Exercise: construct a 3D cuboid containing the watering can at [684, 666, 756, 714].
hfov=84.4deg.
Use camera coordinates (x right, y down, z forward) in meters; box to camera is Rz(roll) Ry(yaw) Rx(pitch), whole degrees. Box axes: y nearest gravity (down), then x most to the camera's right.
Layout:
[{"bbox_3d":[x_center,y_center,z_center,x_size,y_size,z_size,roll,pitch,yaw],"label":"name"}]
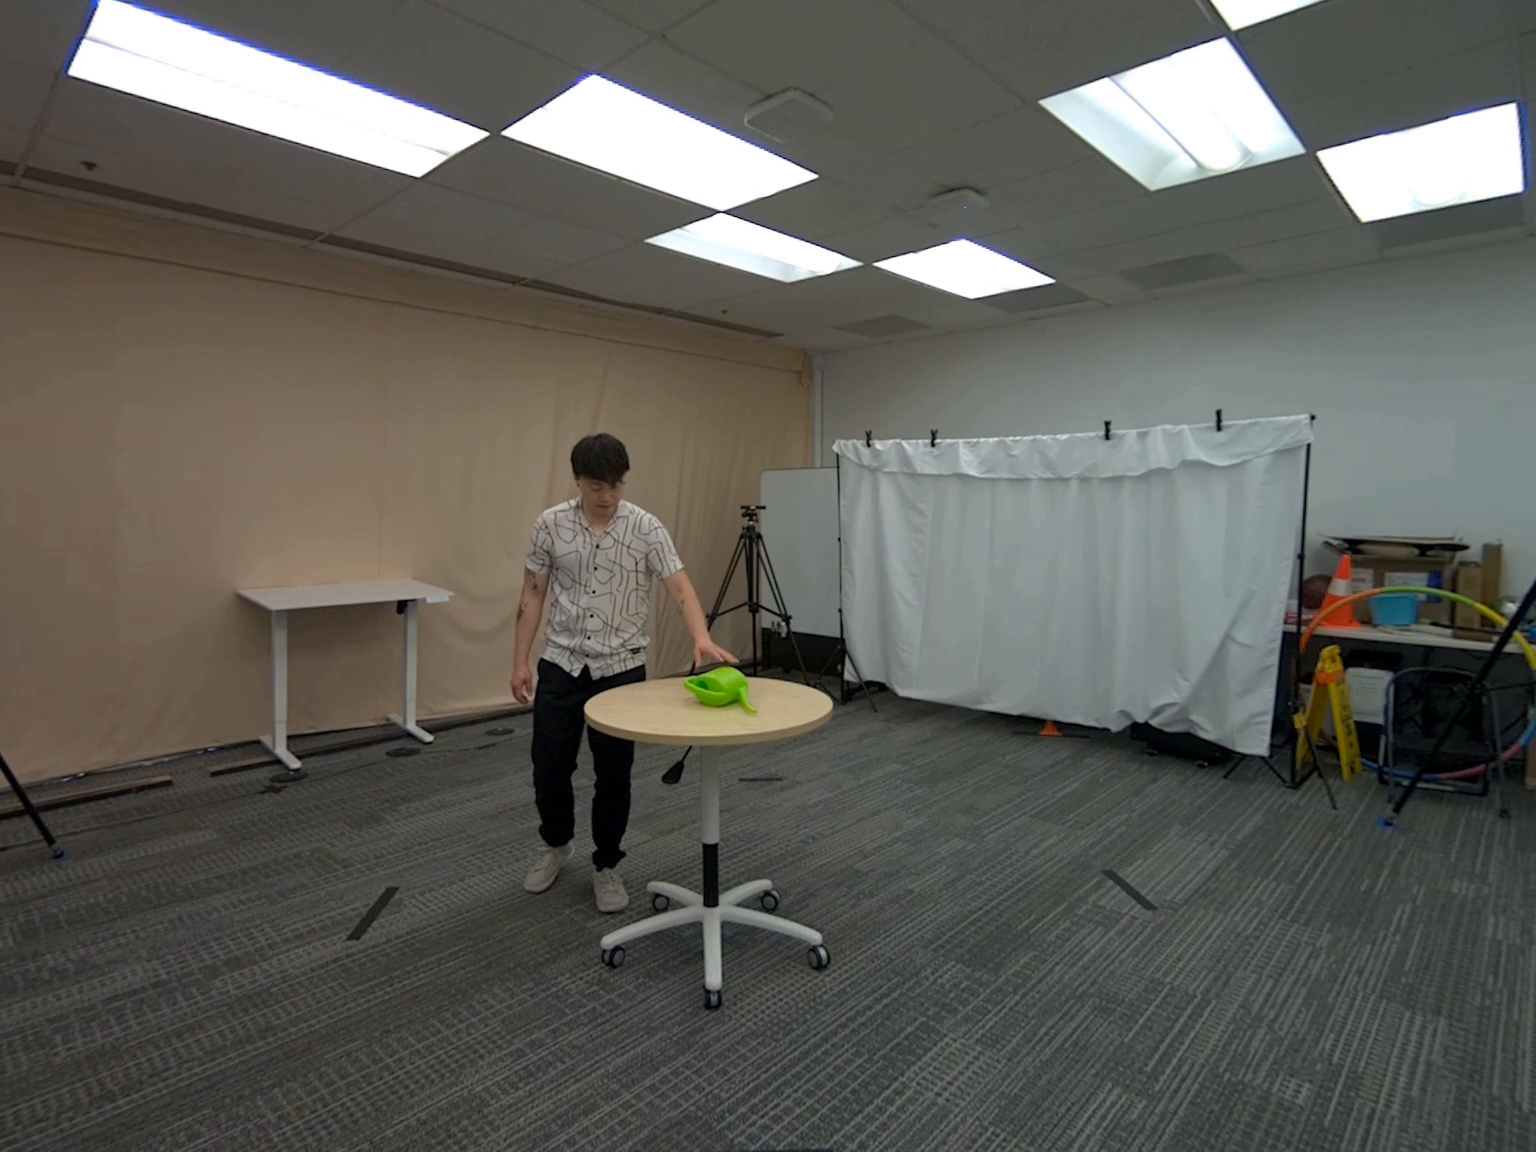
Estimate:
[{"bbox_3d":[-0.118,0.363,2.571,0.287,0.097,0.172,28,18,27],"label":"watering can"}]
